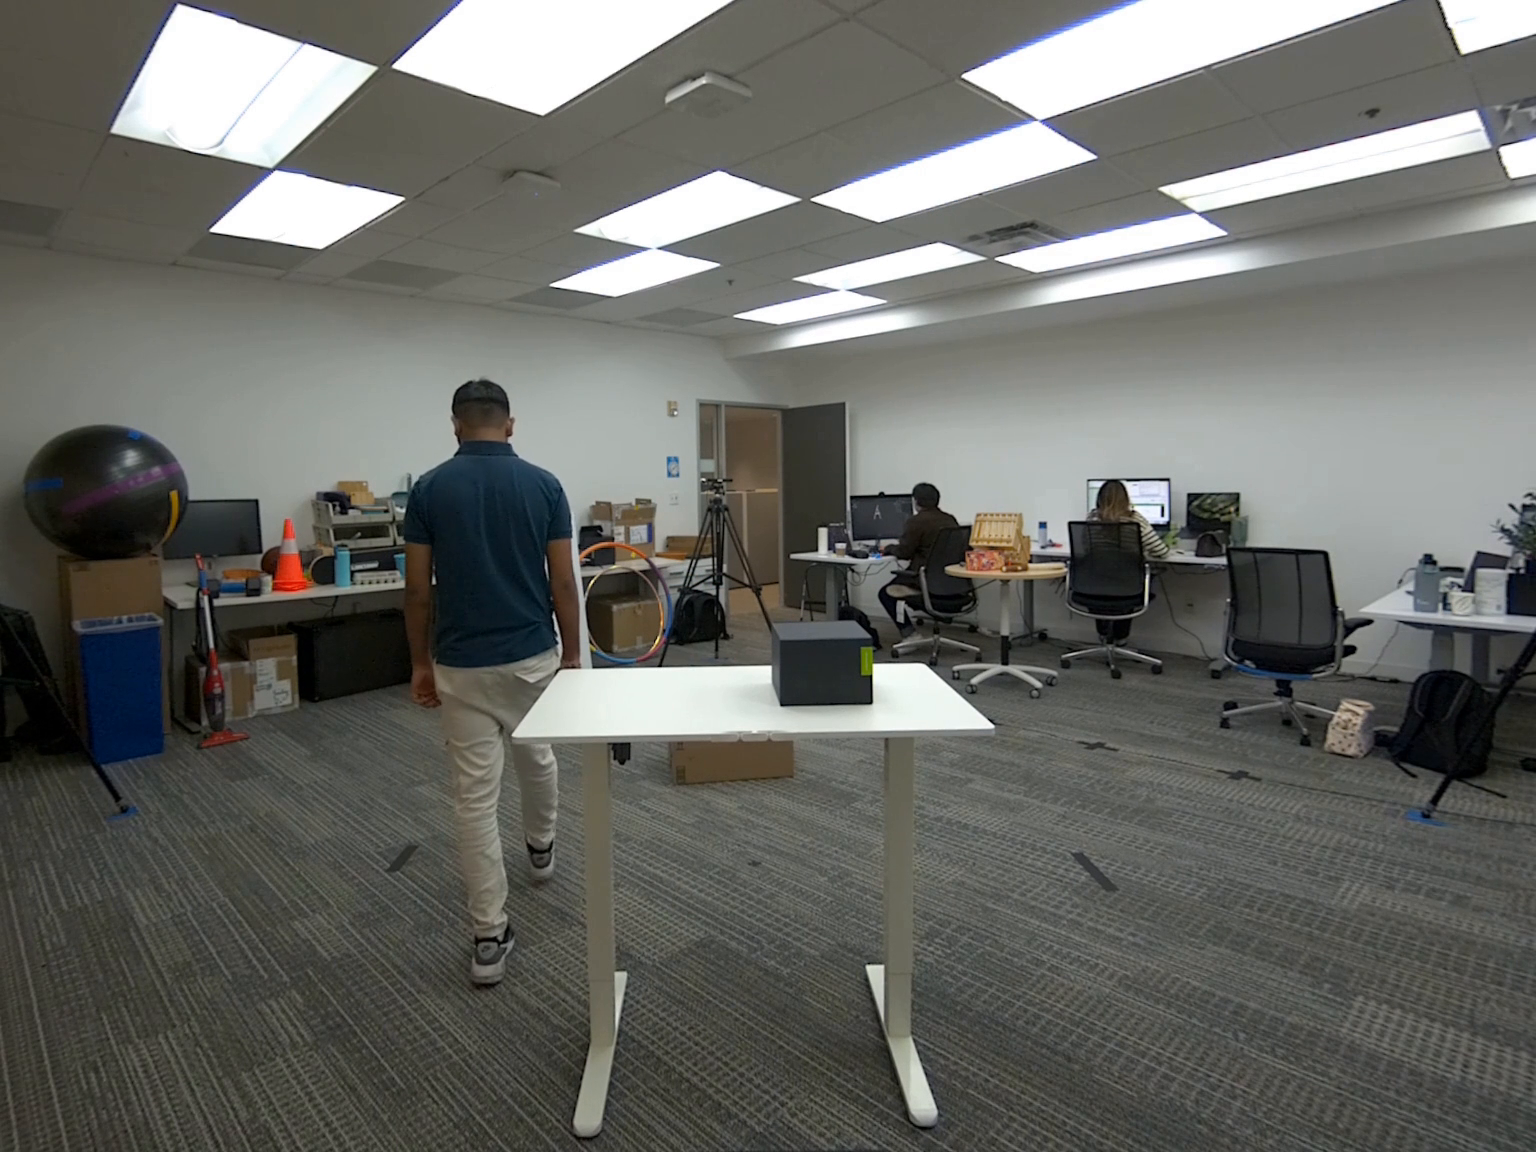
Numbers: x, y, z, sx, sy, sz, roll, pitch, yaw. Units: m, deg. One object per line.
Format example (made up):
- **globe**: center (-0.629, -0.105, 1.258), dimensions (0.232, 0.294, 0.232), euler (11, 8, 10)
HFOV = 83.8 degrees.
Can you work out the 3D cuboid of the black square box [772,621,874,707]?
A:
- **black square box**: center (0.117, 0.203, 2.048), dimensions (0.216, 0.155, 0.230), euler (-1, 6, -4)
